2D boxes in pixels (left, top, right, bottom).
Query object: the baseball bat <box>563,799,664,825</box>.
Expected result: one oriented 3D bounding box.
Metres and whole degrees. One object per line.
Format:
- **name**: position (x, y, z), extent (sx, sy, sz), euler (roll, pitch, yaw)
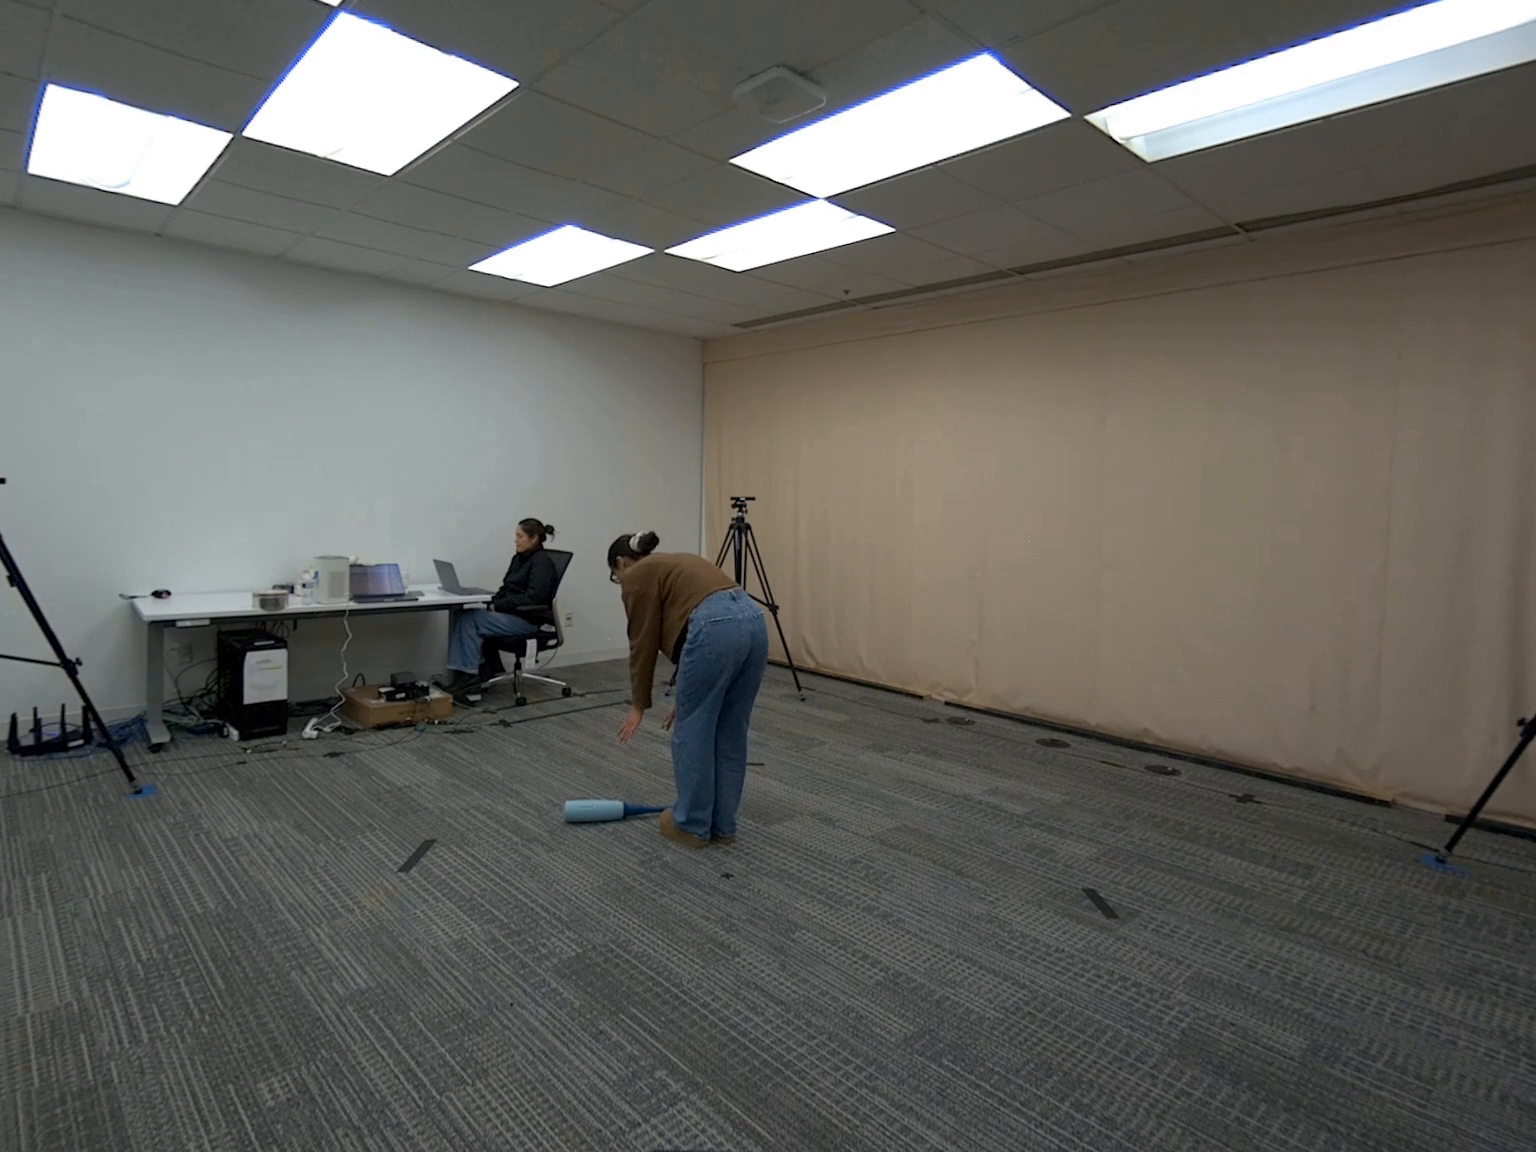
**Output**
- **baseball bat**: position (-0.612, 1.007, 3.630), extent (0.536, 0.089, 0.090), euler (3, 4, -15)
